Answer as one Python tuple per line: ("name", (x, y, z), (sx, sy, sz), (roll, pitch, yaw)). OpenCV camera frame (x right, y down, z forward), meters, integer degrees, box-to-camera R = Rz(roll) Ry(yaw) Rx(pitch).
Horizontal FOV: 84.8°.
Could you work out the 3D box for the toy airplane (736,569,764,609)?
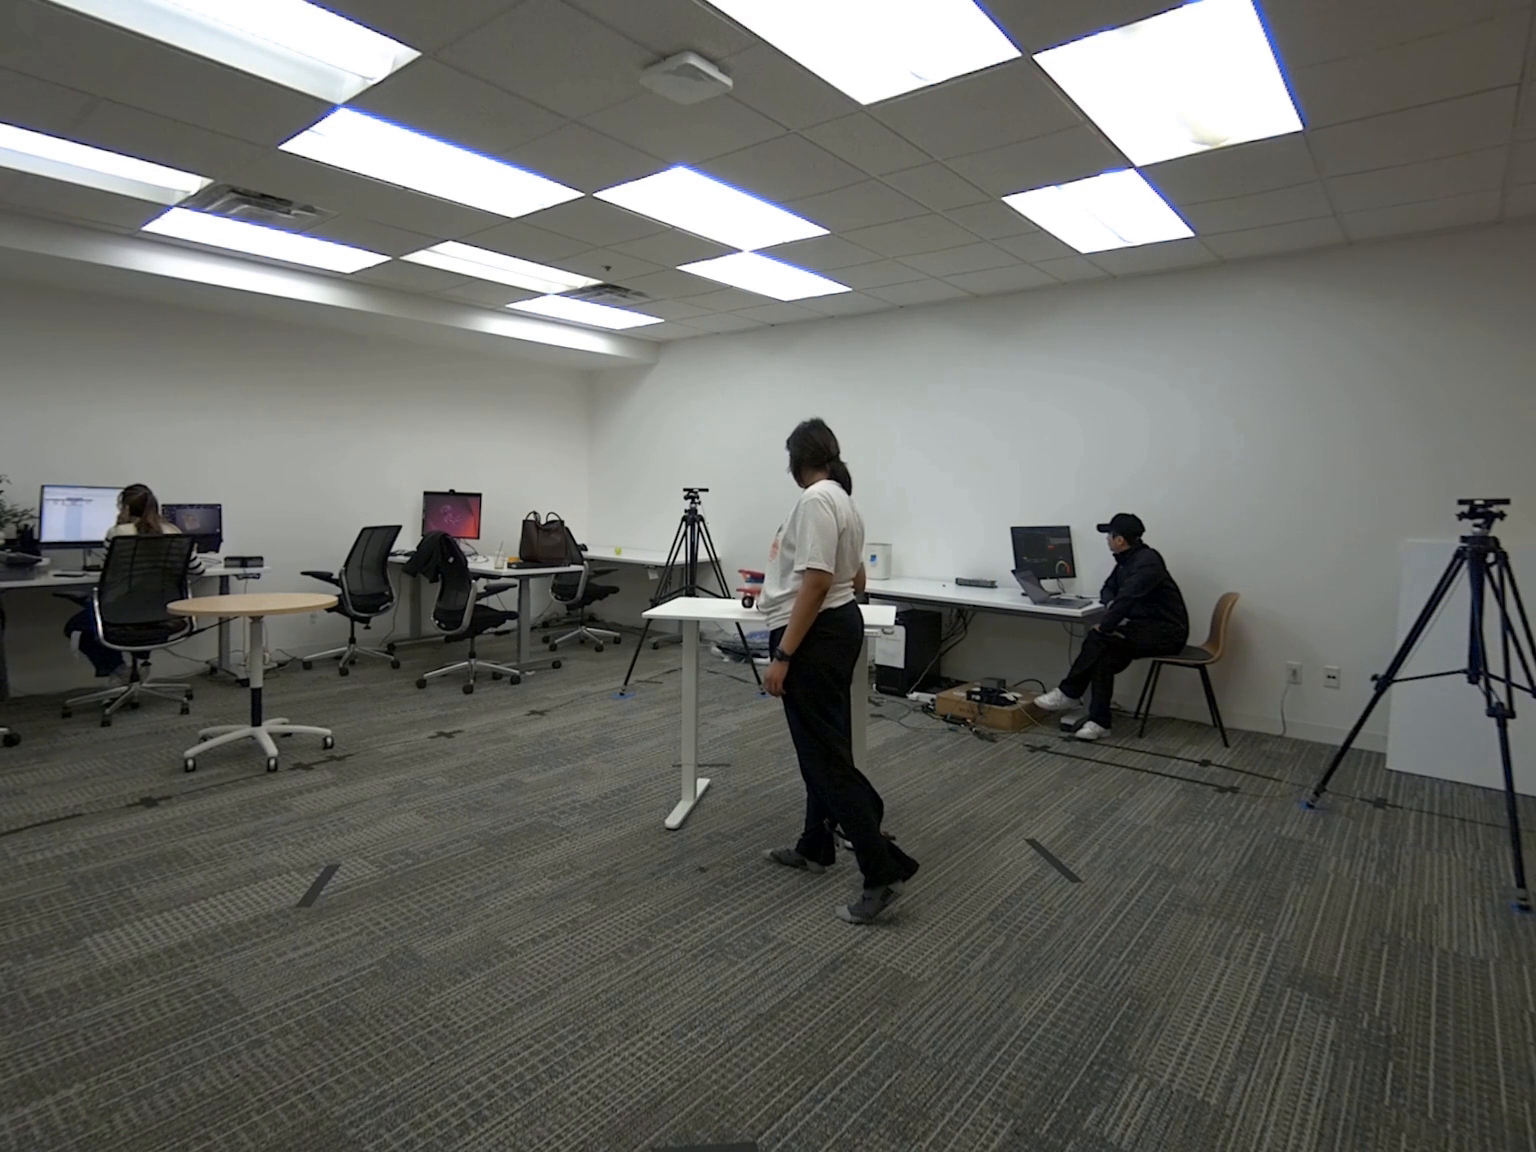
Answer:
("toy airplane", (0.006, 0.050, 3.524), (0.263, 0.159, 0.243), (-7, -17, 17))
